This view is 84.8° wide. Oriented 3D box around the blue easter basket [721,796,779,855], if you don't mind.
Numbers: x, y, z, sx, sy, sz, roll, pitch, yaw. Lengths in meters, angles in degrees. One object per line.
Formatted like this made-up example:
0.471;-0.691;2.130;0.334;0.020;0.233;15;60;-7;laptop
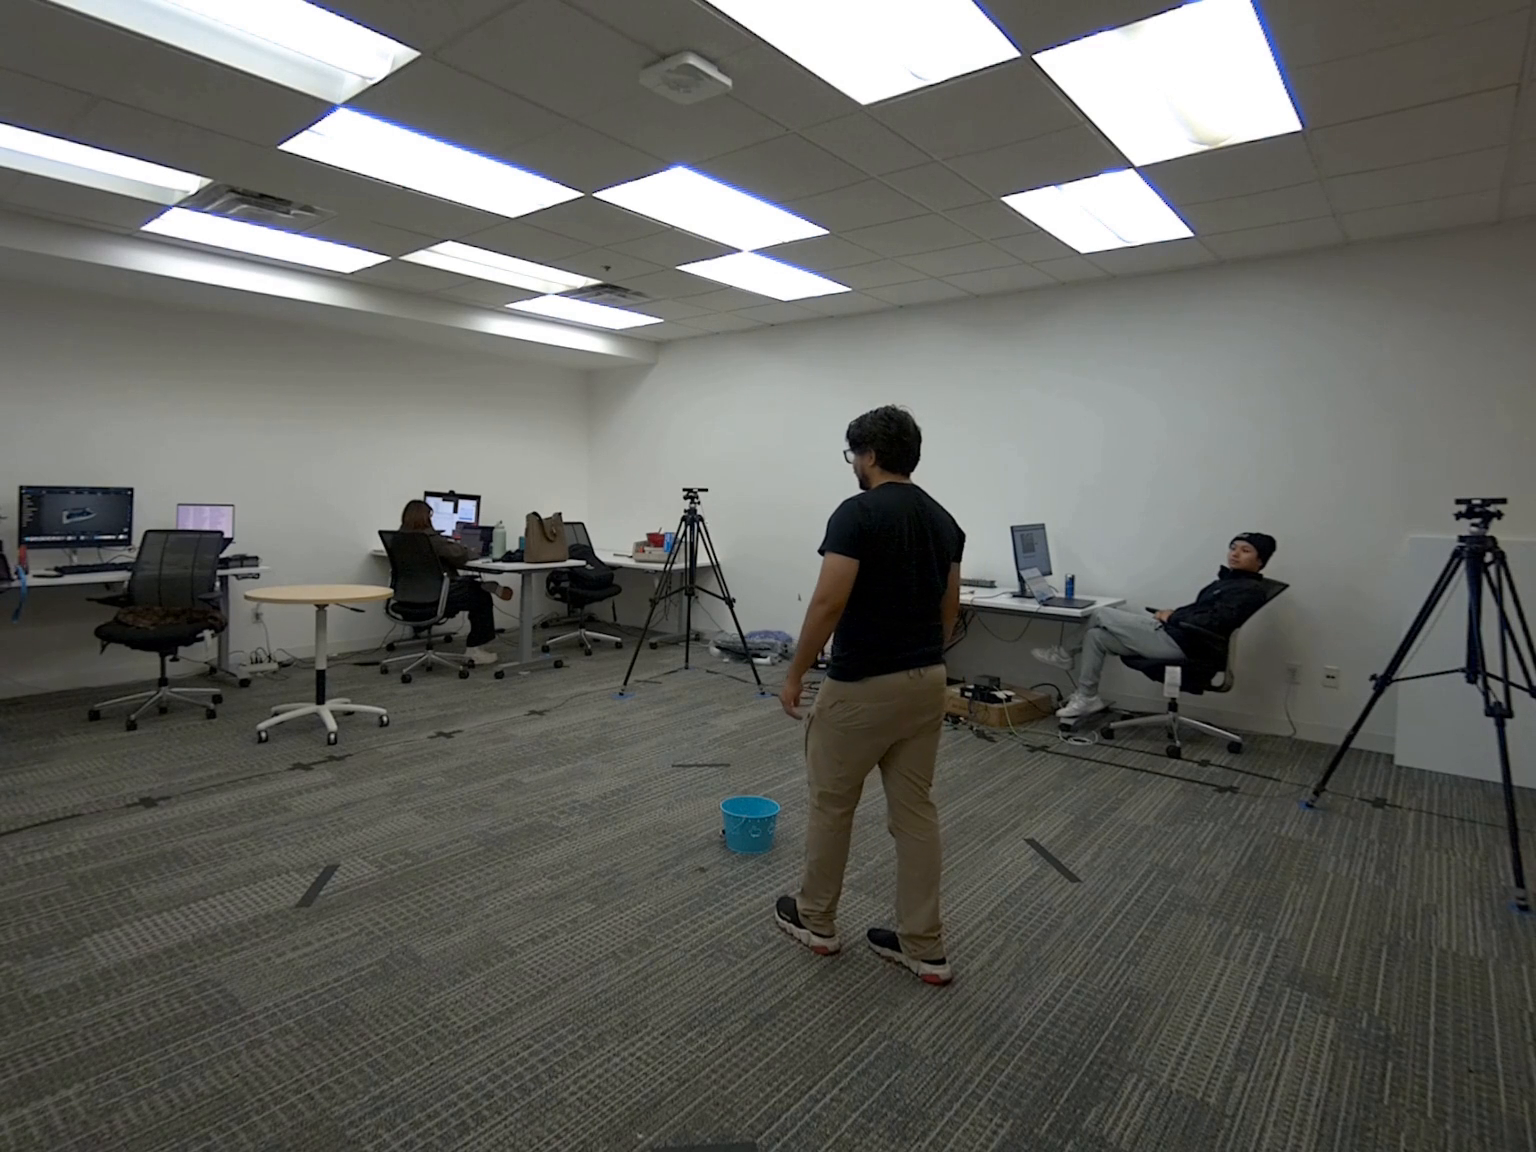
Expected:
-0.084;0.970;3.334;0.243;0.155;0.245;0;5;-2;blue easter basket
